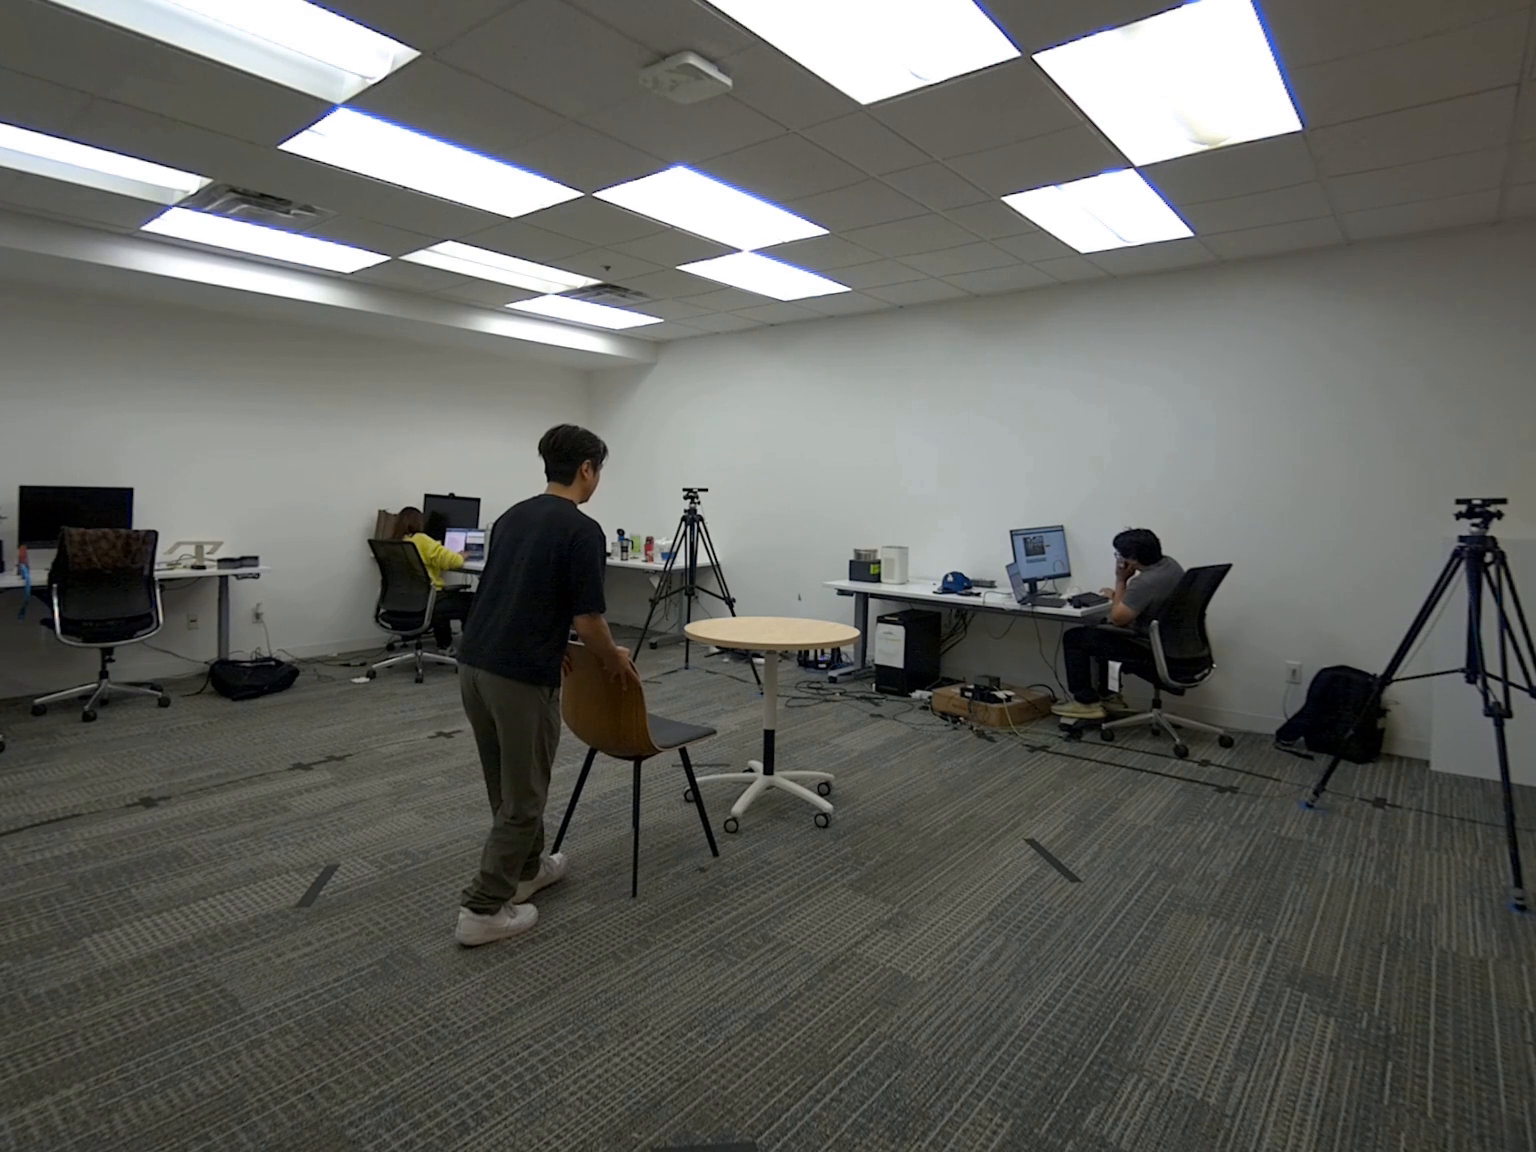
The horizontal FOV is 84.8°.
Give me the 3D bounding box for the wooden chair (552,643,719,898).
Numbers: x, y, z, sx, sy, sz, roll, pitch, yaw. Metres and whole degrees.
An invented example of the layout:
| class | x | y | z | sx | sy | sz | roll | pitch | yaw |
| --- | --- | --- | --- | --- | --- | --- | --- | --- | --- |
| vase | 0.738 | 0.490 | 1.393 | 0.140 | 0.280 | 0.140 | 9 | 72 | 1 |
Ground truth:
| class | x | y | z | sx | sy | sz | roll | pitch | yaw |
| --- | --- | --- | --- | --- | --- | --- | --- | --- | --- |
| wooden chair | -0.496 | 0.631 | 3.169 | 0.494 | 0.872 | 0.509 | 3 | 8 | 38 |
